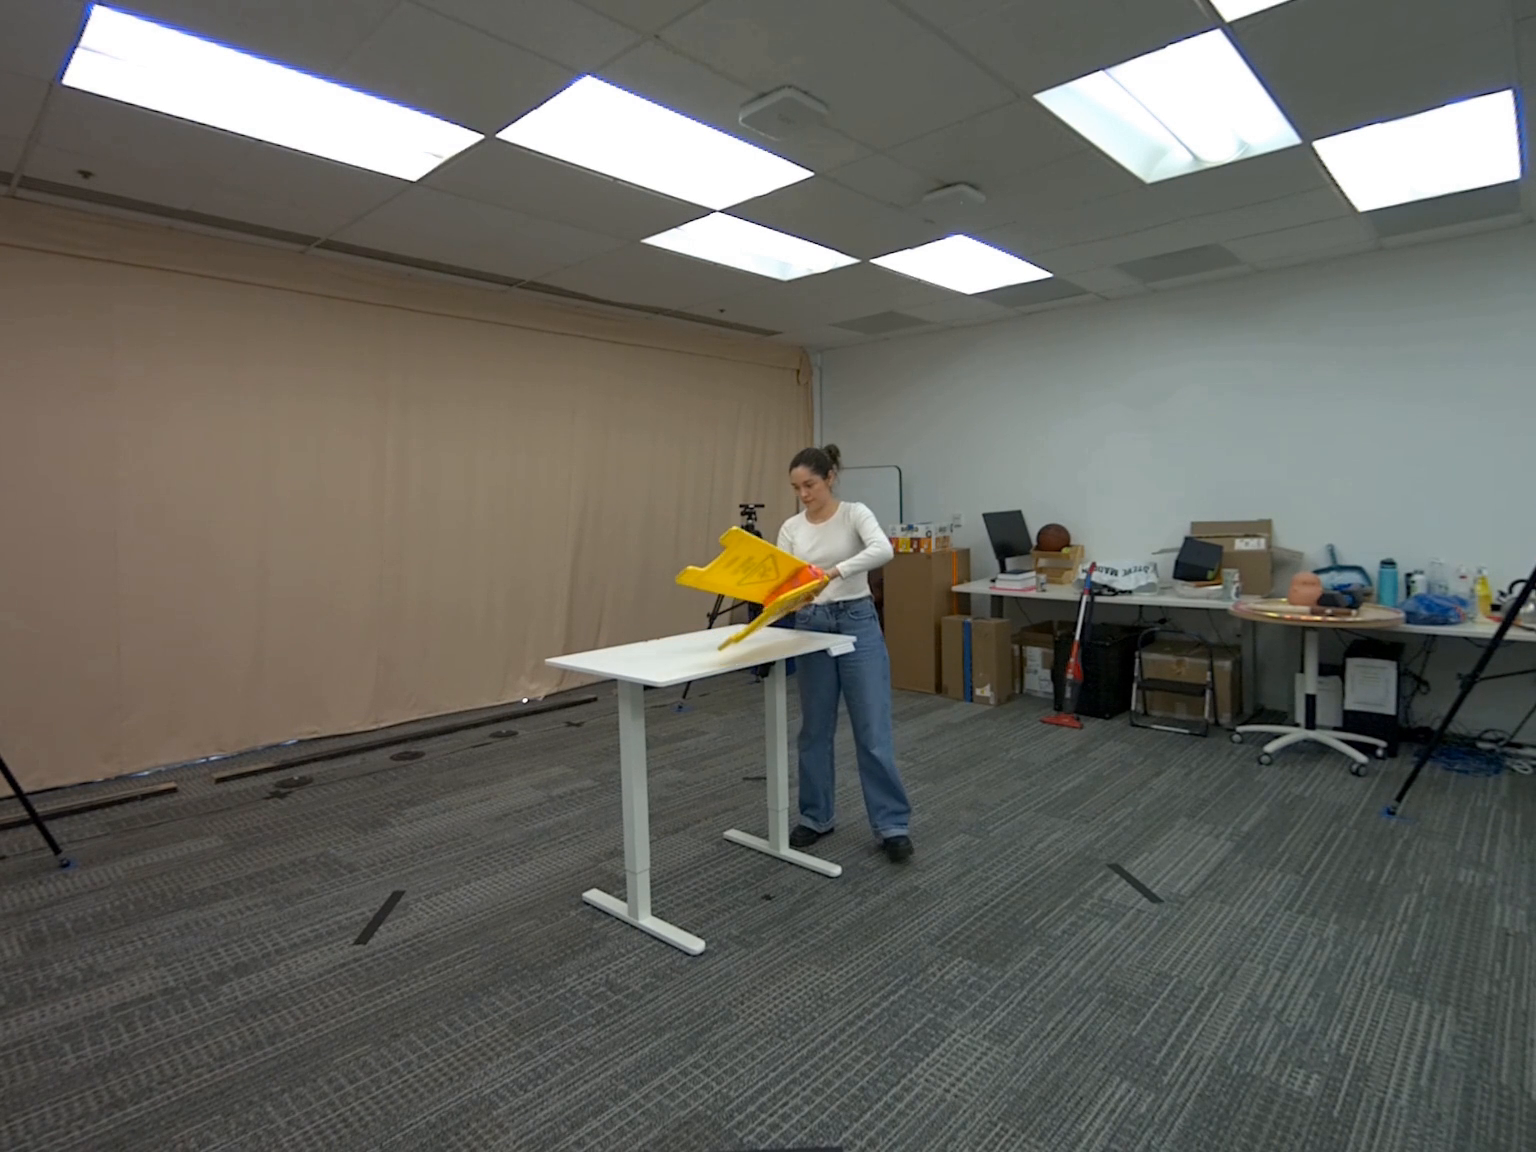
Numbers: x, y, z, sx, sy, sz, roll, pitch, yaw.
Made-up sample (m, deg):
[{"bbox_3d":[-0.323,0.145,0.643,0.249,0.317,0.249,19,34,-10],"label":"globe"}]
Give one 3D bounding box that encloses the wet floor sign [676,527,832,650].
[{"bbox_3d":[0.026,0.066,2.901,0.284,0.296,0.627,-41,-21,21],"label":"wet floor sign"}]
